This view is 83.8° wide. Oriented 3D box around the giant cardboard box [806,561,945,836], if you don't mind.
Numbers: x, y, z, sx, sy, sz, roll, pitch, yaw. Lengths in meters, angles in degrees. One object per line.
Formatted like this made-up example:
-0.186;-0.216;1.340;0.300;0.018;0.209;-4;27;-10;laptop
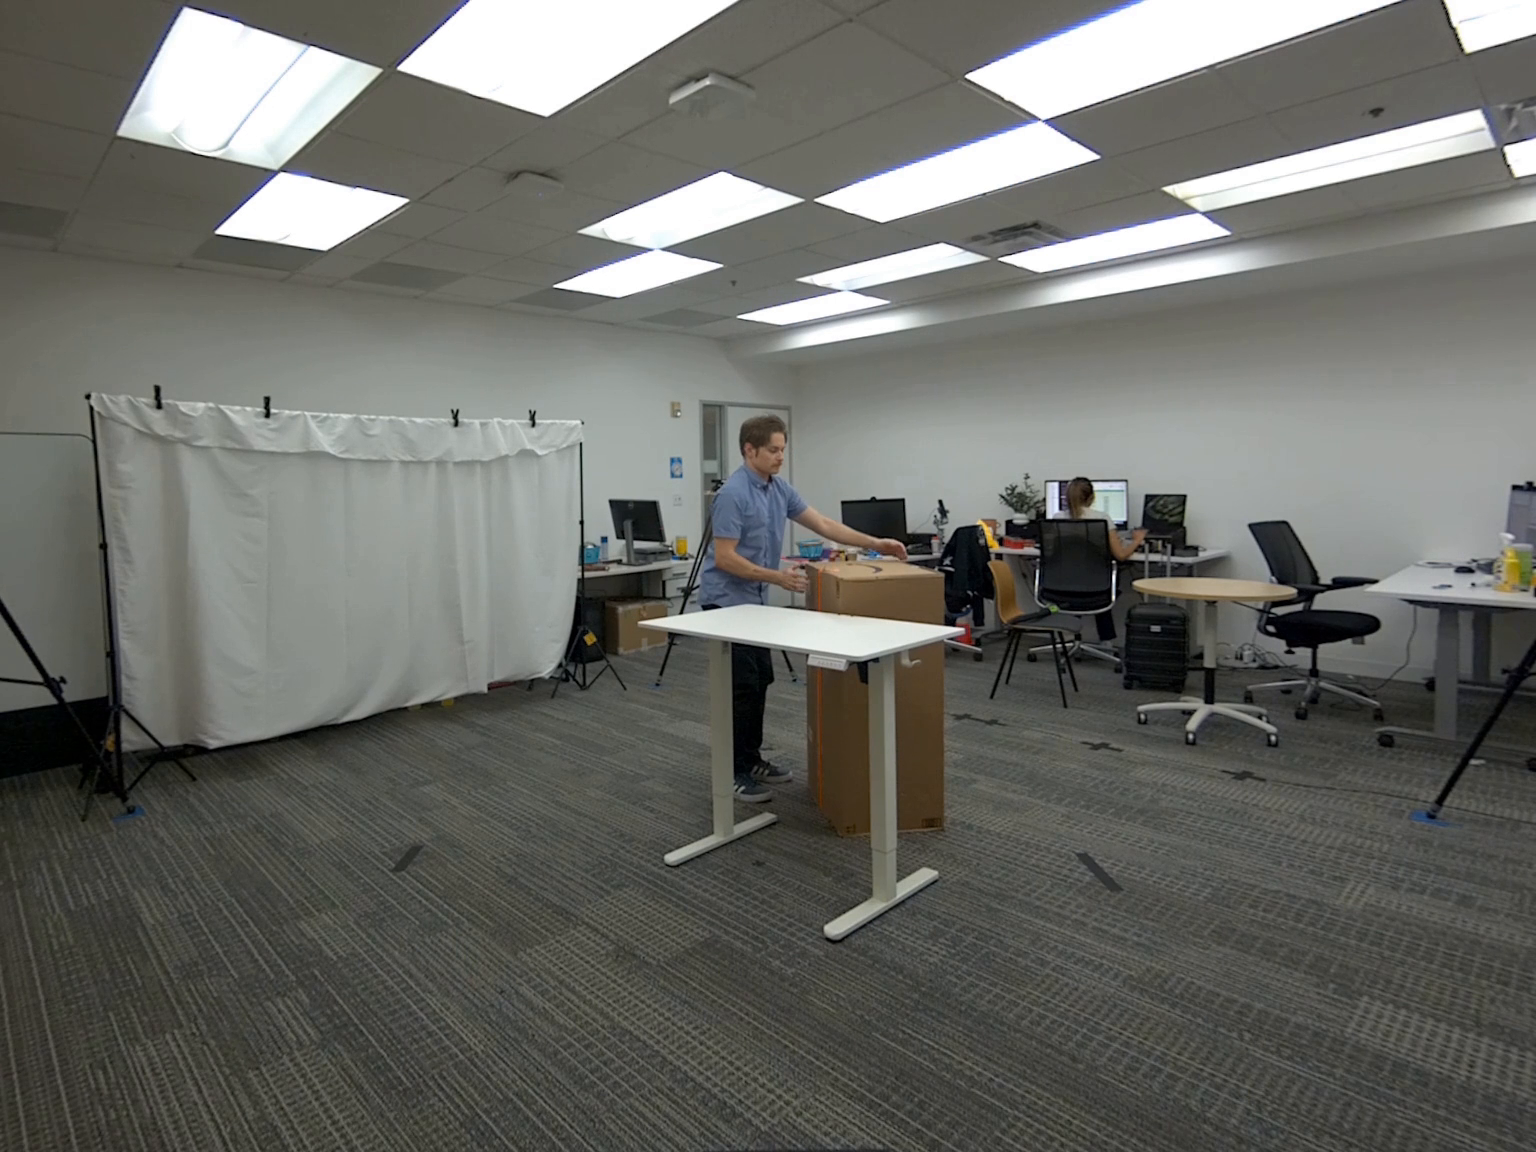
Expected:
0.430;0.471;3.595;0.423;1.021;0.585;-2;5;-9;giant cardboard box
